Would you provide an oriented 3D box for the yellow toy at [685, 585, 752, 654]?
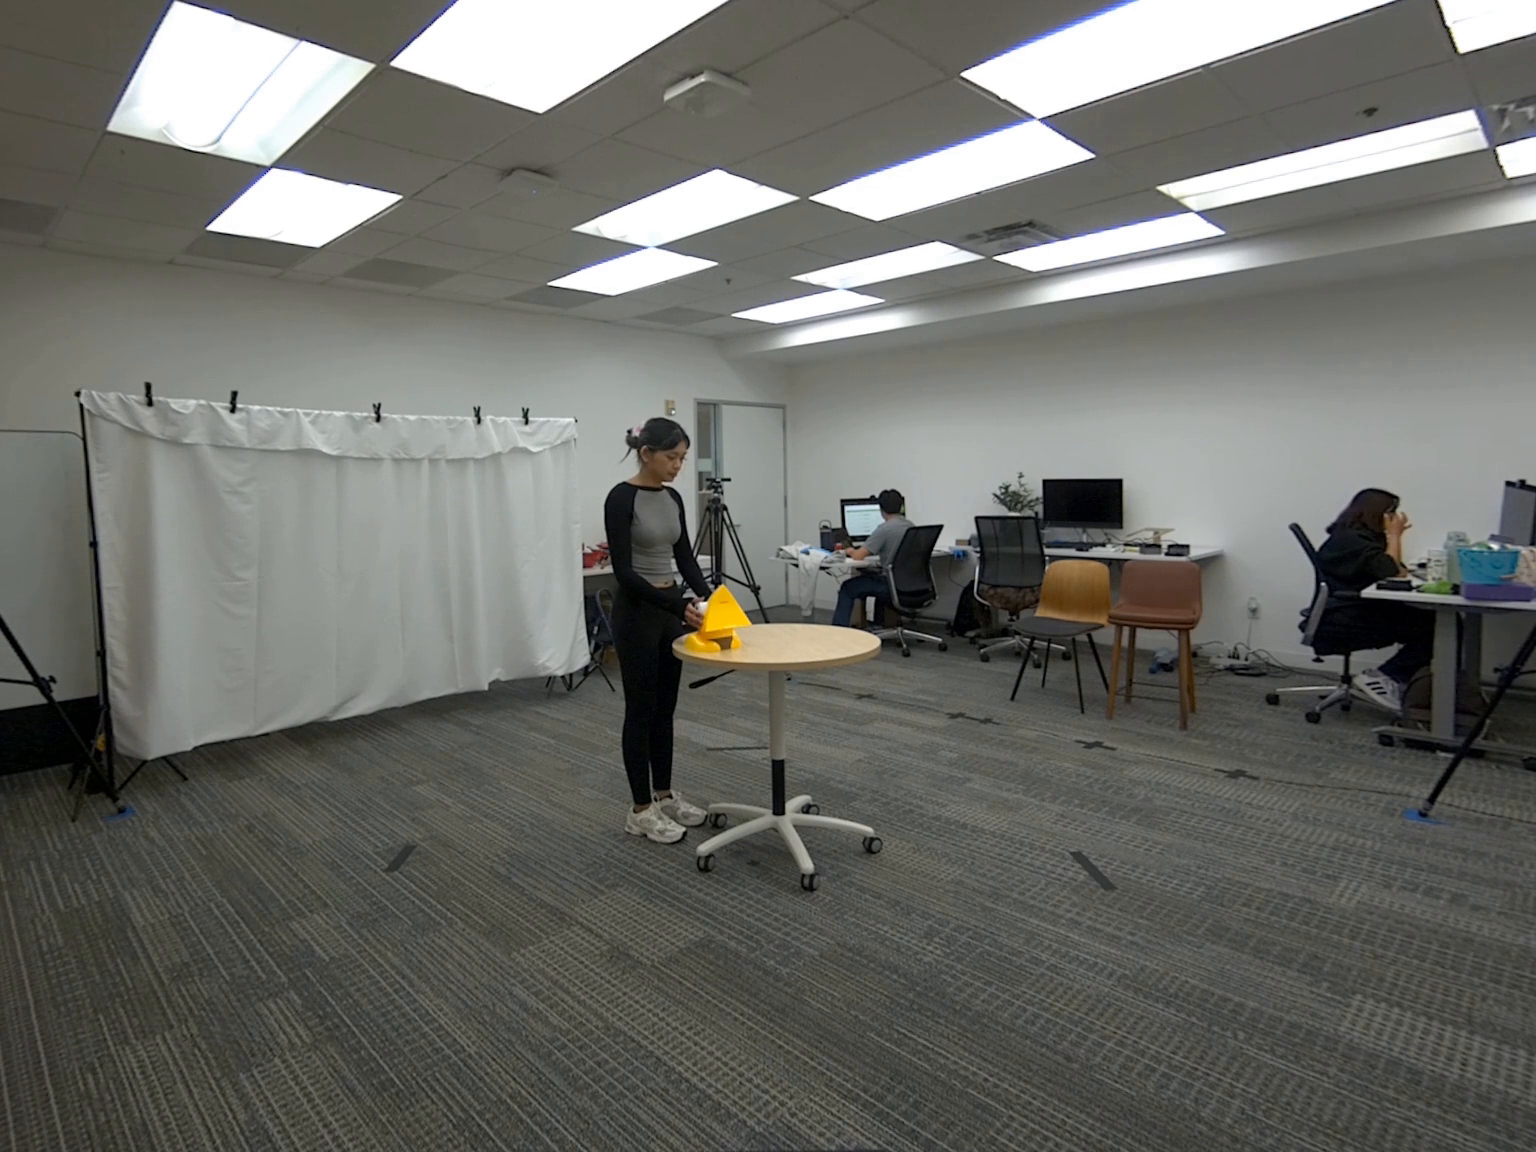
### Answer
[{"bbox_3d":[-0.193,0.142,3.079,0.199,0.230,0.198,-6,3,-38],"label":"yellow toy"}]
